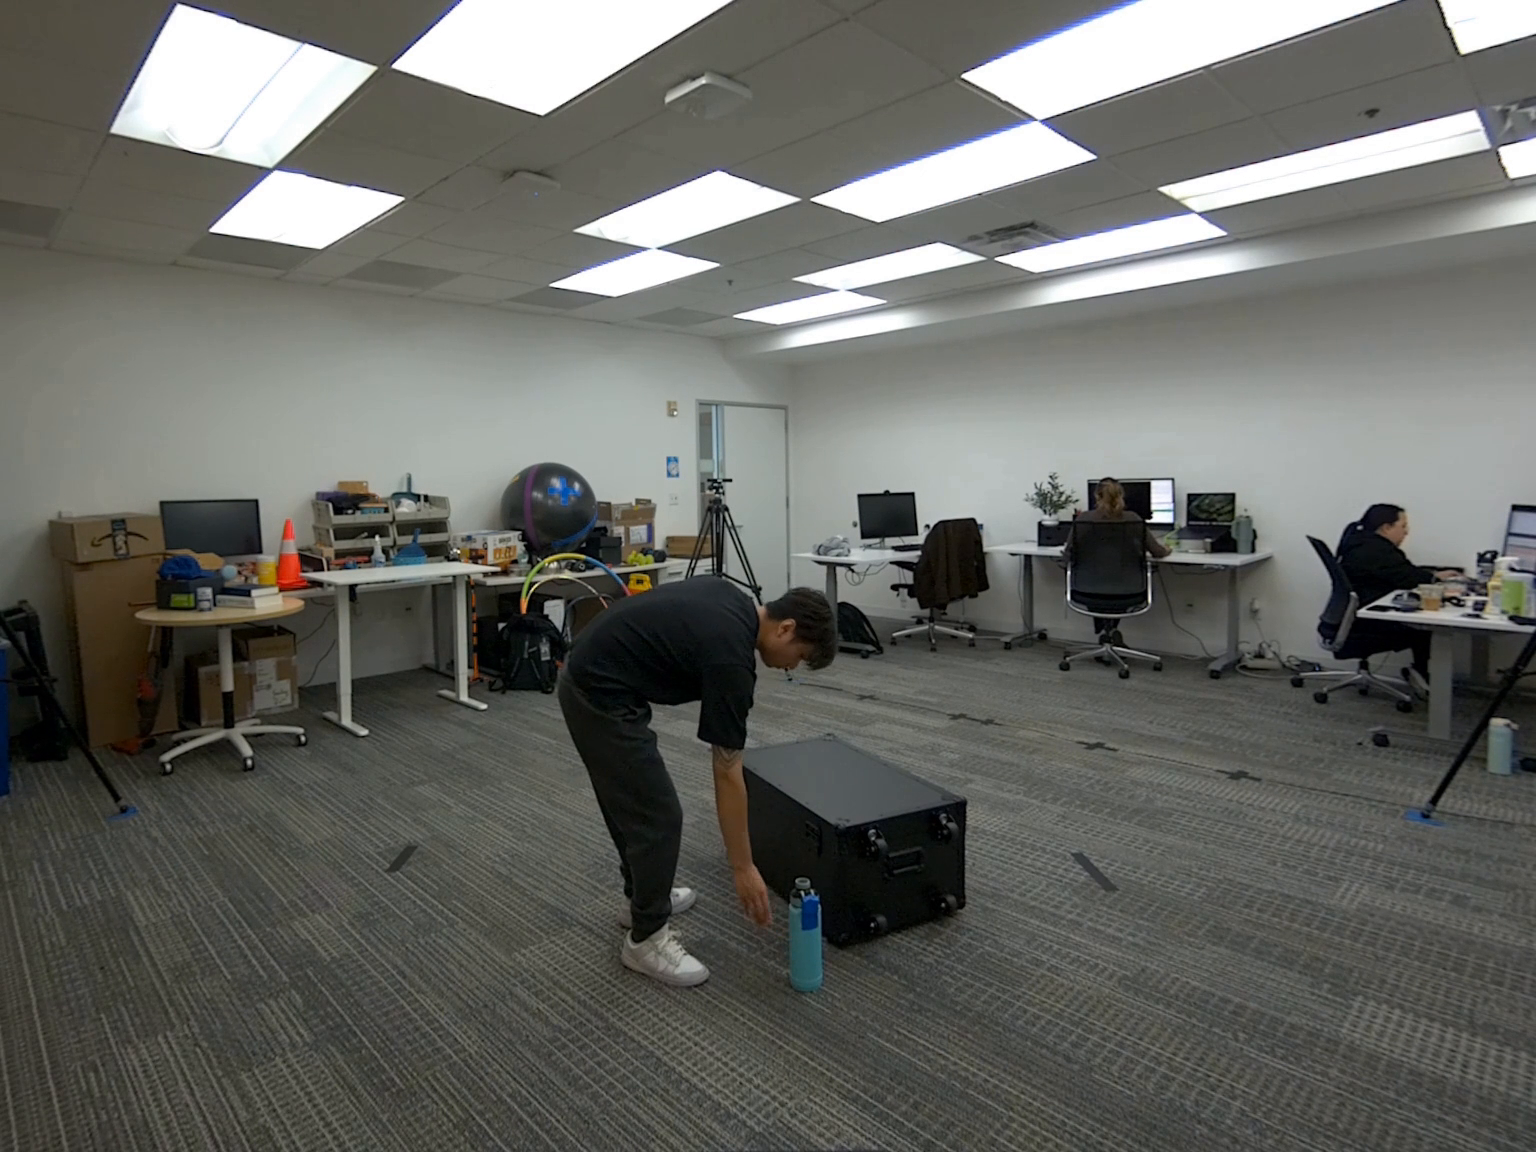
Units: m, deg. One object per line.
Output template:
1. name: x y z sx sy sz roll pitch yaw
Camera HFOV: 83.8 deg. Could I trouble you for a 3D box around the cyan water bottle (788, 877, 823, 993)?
1. cyan water bottle: 0.099 0.981 2.374 0.092 0.282 0.093 0 5 -2
